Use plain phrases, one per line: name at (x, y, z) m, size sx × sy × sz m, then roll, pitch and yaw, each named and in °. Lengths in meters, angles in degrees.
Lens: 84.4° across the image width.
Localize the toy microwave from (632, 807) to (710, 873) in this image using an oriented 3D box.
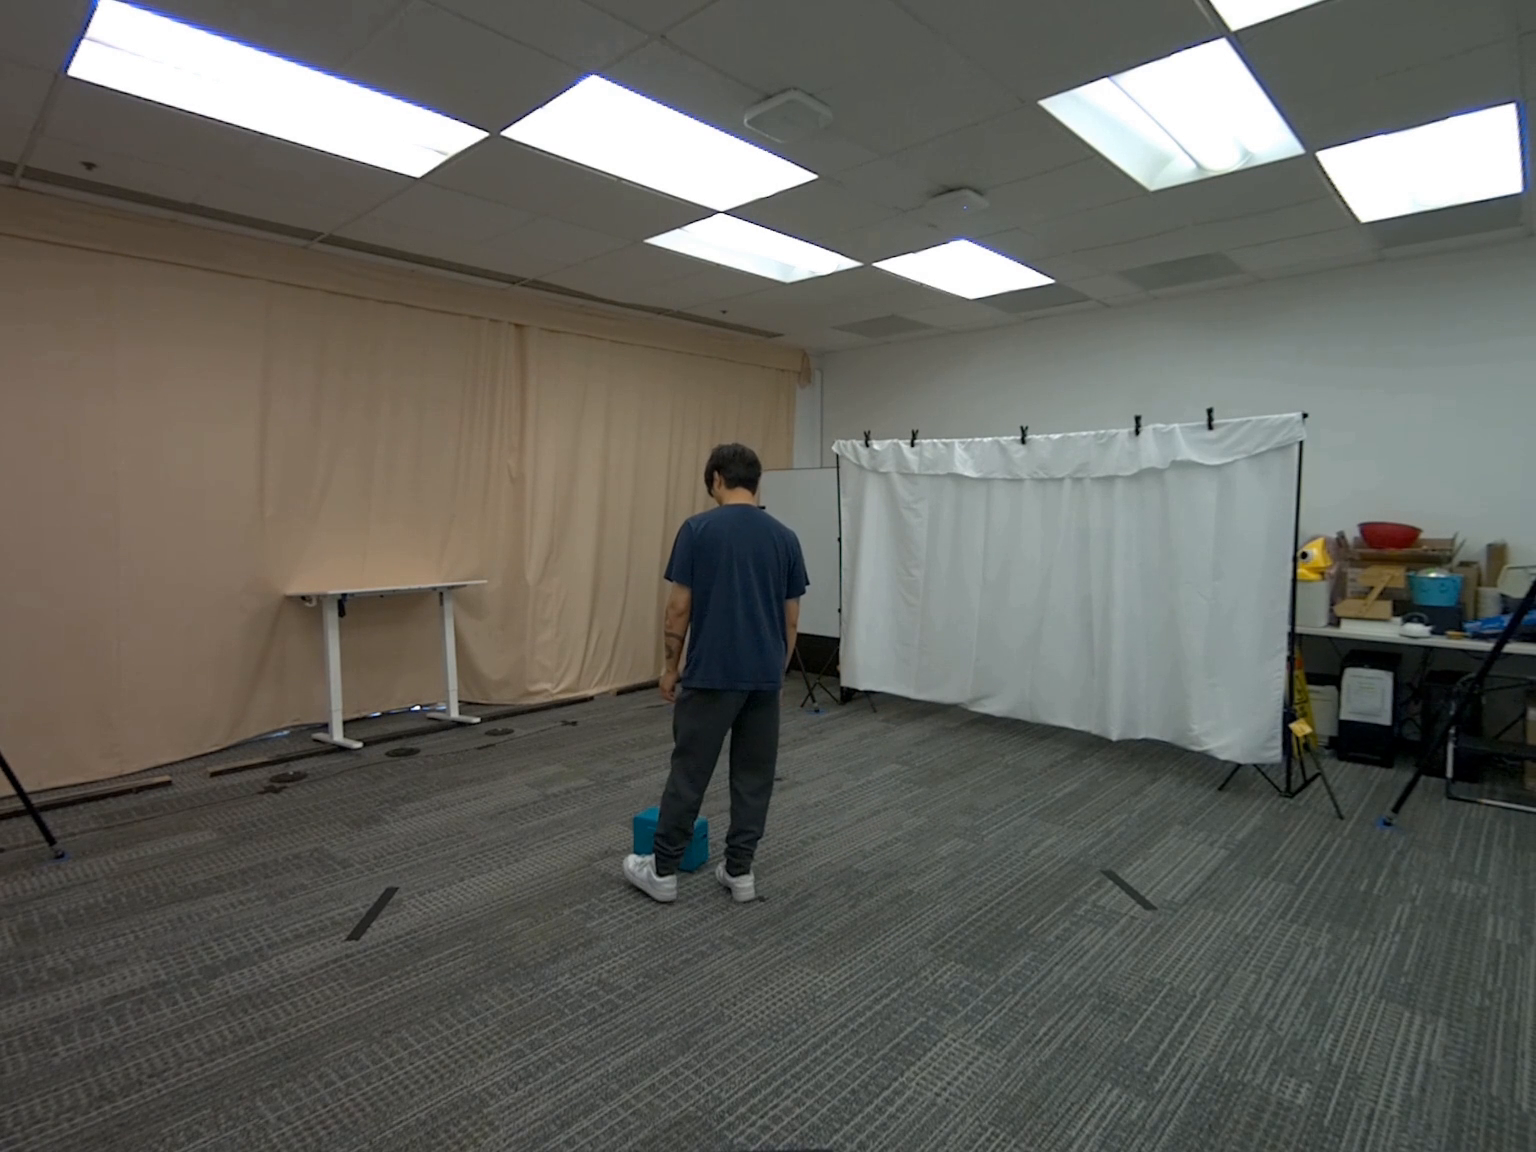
toy microwave at (-0.376, 1.028, 3.308) m, size 0.294 × 0.184 × 0.148 m, roll 1°, pitch 3°, yaw 28°
